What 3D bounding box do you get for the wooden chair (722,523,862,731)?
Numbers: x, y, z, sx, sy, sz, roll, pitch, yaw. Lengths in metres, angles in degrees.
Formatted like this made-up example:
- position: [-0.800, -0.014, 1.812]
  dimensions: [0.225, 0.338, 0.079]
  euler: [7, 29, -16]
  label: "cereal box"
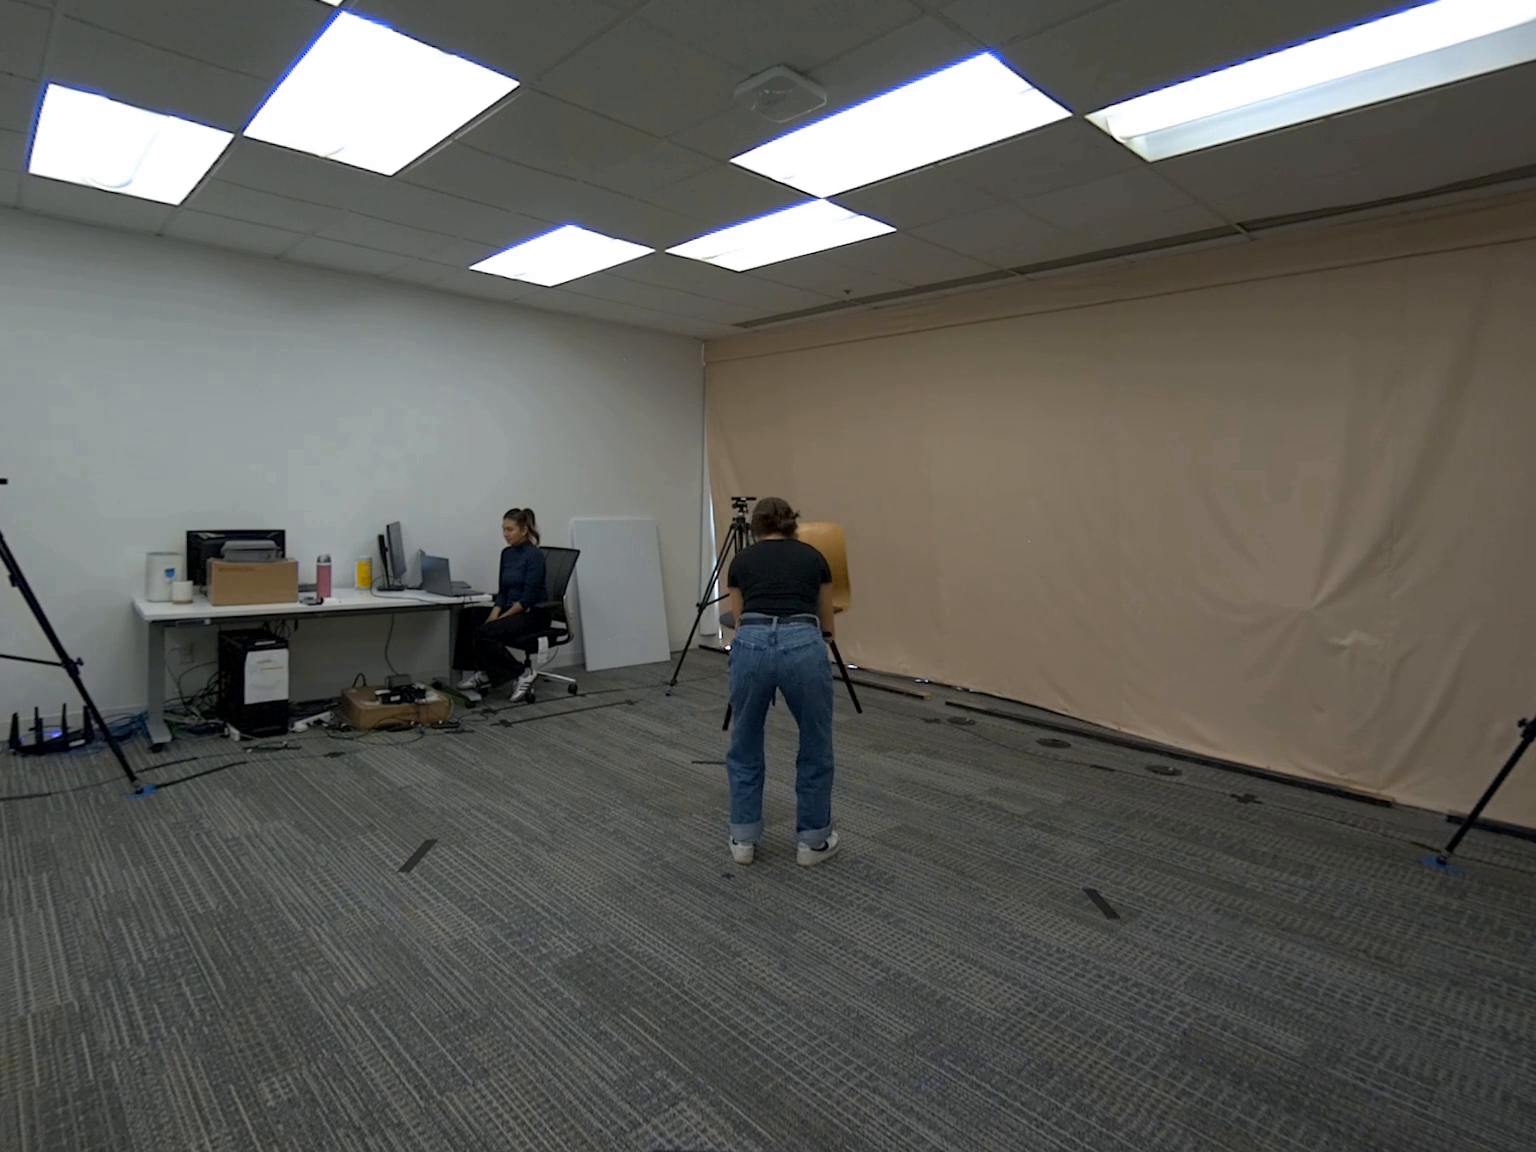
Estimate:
- position: [0.077, 0.222, 3.598]
  dimensions: [0.488, 0.877, 0.513]
  euler: [-2, 0, 30]
  label: "wooden chair"
